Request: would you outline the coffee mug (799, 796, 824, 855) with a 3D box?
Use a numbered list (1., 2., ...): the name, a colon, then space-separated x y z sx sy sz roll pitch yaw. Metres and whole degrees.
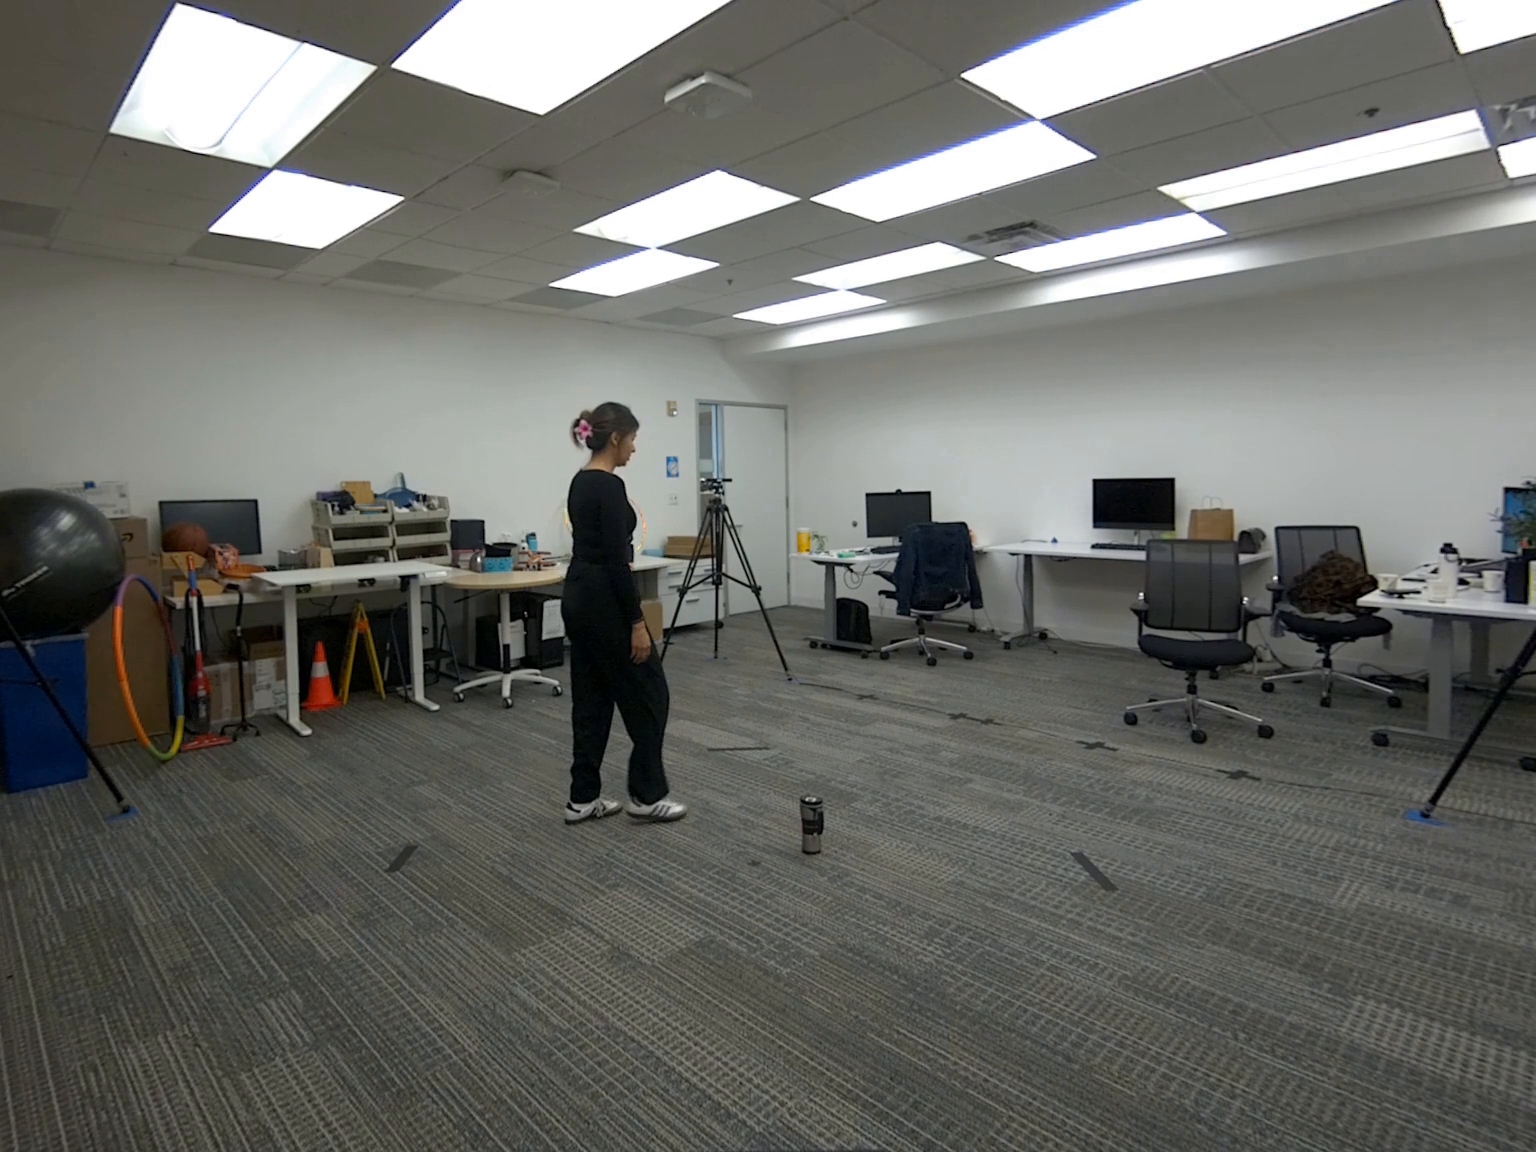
1. coffee mug: 0.157 0.932 3.178 0.090 0.203 0.119 3 2 23
